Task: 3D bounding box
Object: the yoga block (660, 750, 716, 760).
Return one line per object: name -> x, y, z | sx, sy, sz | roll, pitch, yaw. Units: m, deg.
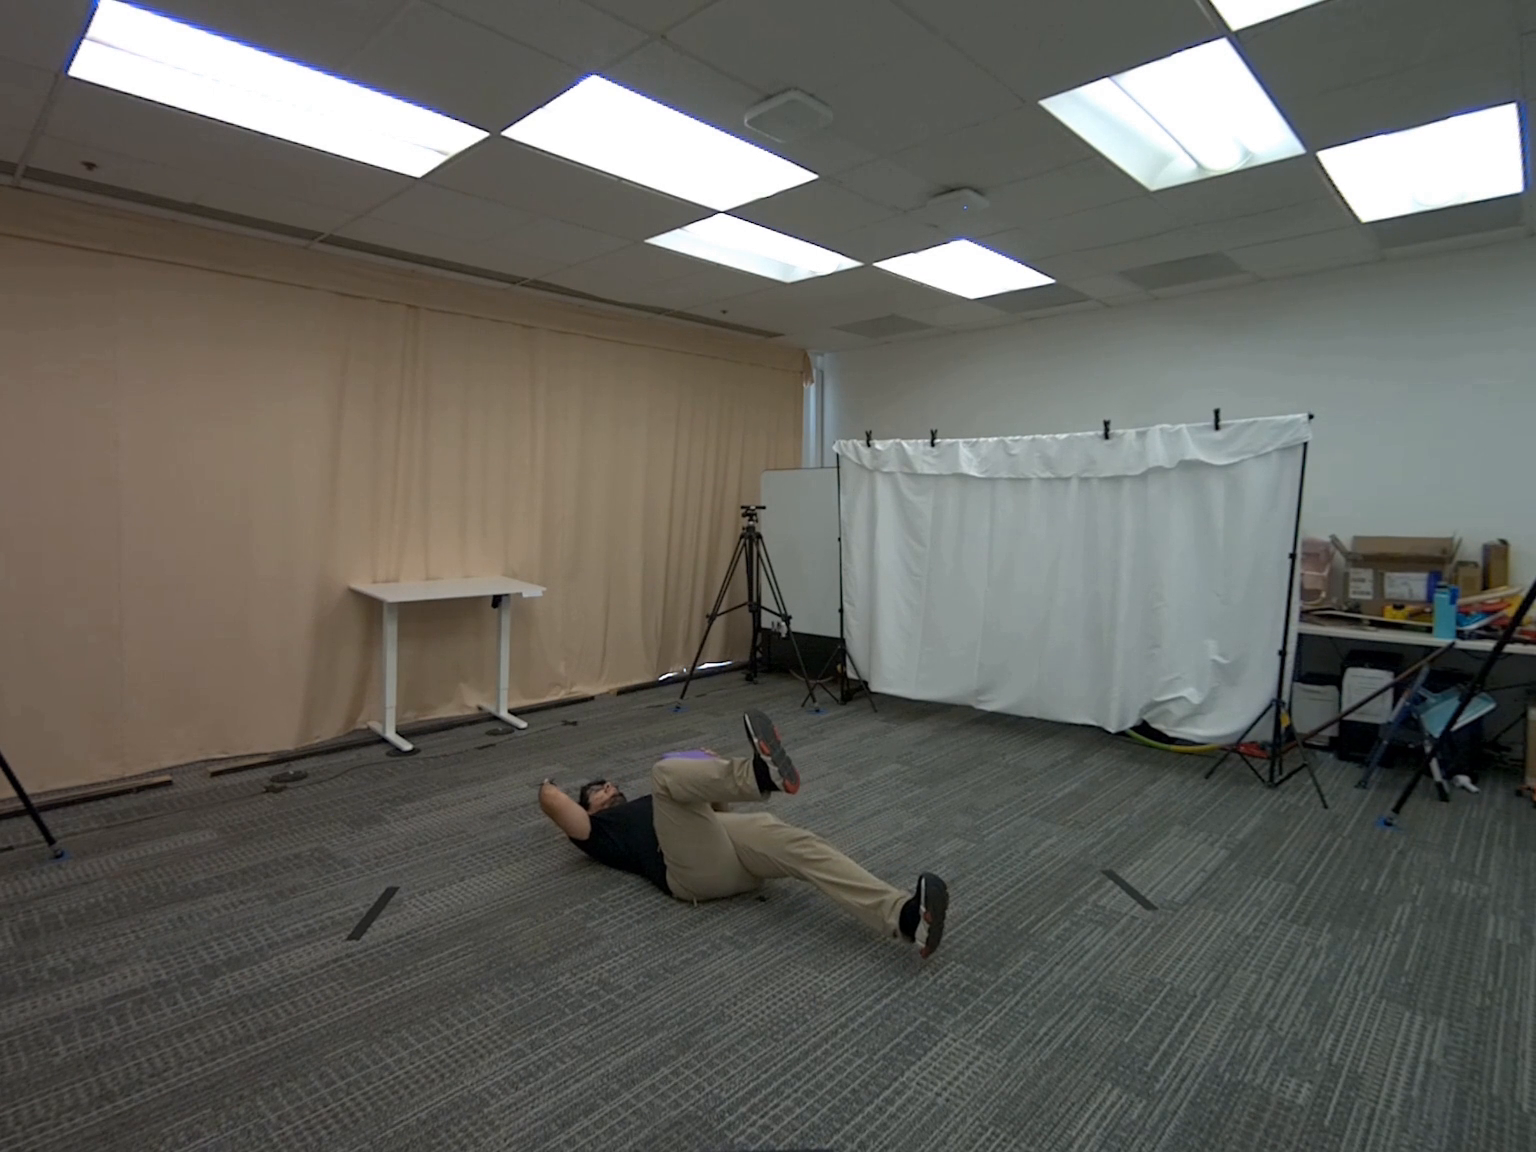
yoga block -> -0.289, 0.726, 3.185 | 0.154, 0.076, 0.221 | 15, 4, 38
